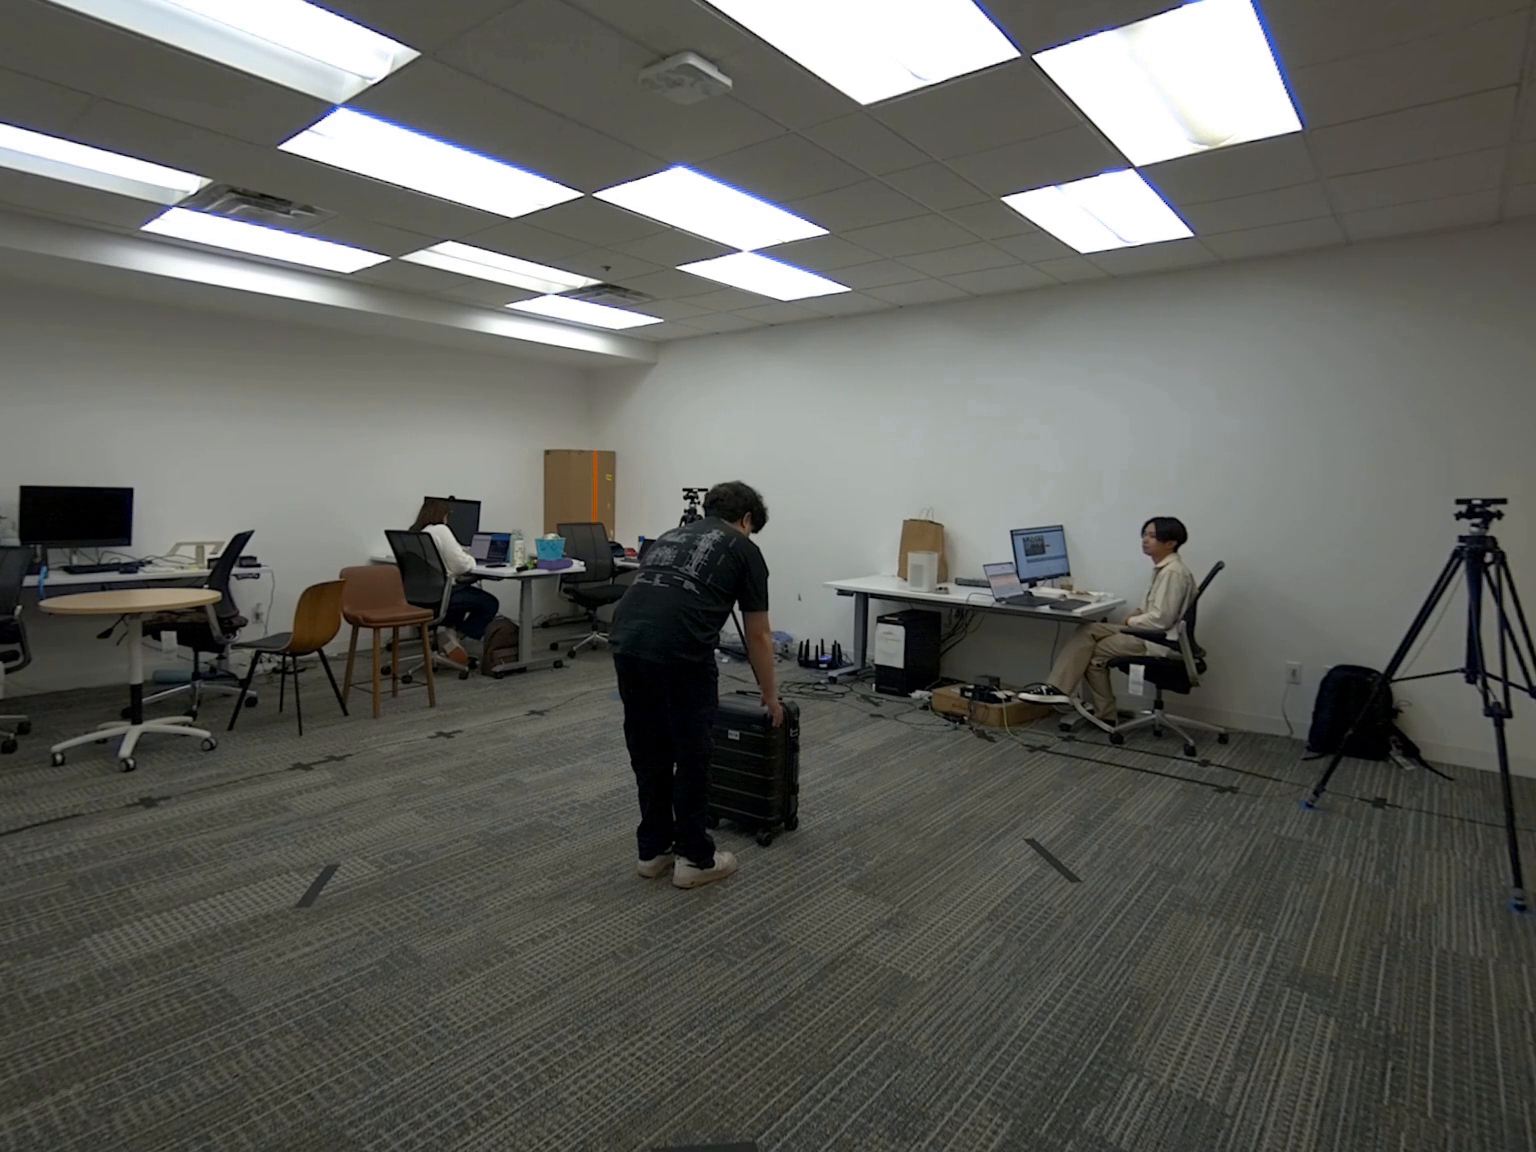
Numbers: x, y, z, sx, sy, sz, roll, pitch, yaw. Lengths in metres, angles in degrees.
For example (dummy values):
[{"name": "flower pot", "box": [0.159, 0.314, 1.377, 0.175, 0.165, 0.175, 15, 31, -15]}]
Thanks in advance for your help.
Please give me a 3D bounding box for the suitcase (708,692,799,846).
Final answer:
[{"name": "suitcase", "box": [-0.072, 0.759, 3.504, 0.387, 0.548, 0.241, 4, 3, 32]}]
